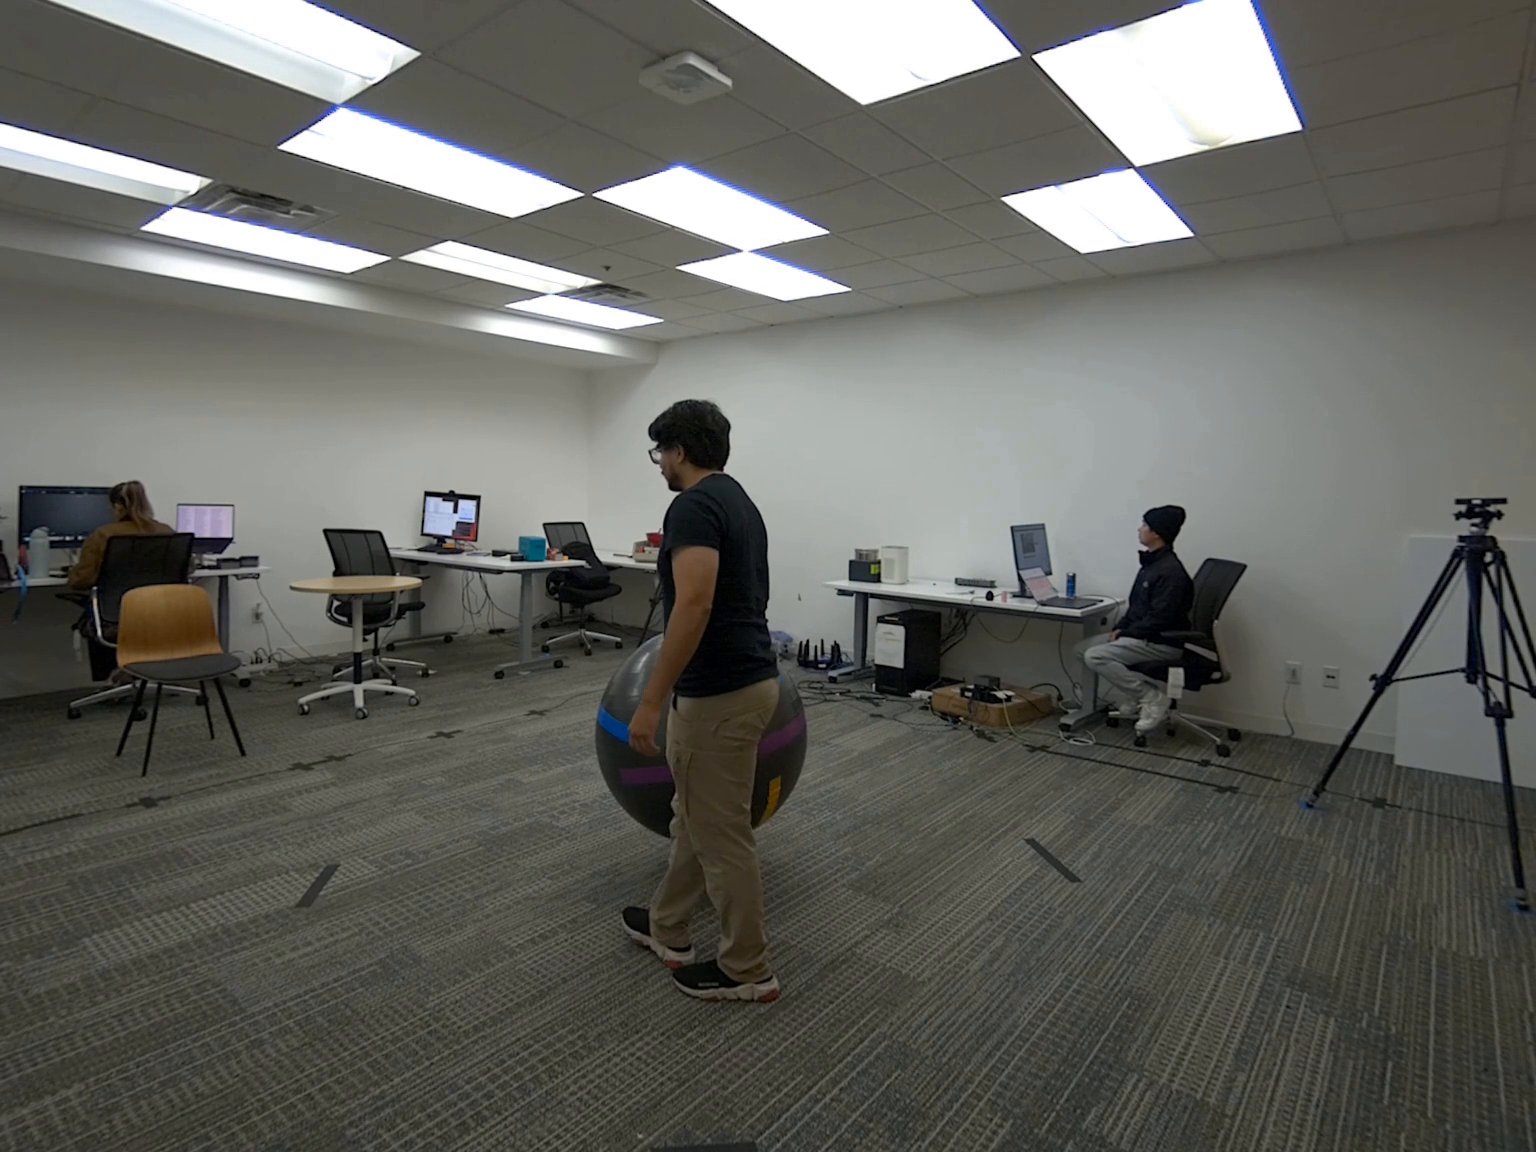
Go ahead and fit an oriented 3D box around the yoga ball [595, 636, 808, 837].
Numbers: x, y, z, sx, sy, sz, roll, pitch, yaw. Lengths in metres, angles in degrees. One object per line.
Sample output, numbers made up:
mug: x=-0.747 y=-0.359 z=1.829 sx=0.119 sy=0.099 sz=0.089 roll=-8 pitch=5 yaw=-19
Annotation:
yoga ball: x=-0.253 y=0.568 z=3.055 sx=0.757 sy=0.756 sz=0.762 roll=1 pitch=4 yaw=-2
